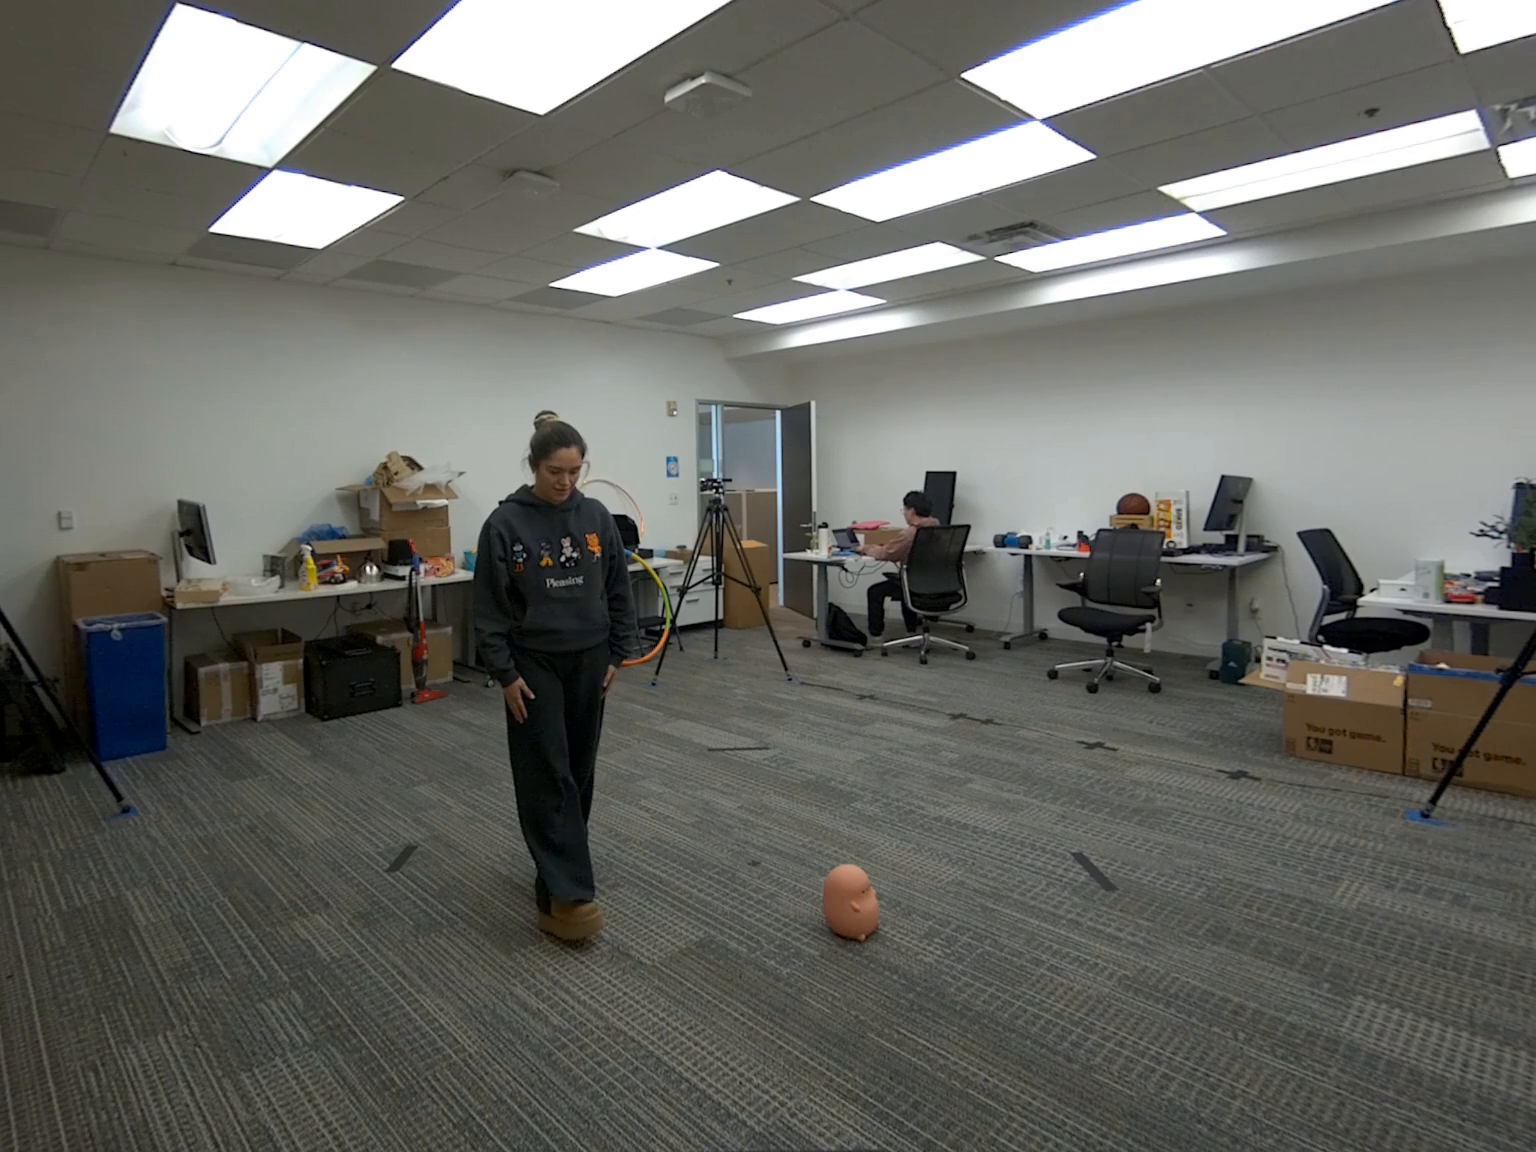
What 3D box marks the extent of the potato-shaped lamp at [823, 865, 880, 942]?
[{"bbox_3d":[0.254,0.987,2.620,0.176,0.197,0.160,2,6,38],"label":"potato-shaped lamp"}]
